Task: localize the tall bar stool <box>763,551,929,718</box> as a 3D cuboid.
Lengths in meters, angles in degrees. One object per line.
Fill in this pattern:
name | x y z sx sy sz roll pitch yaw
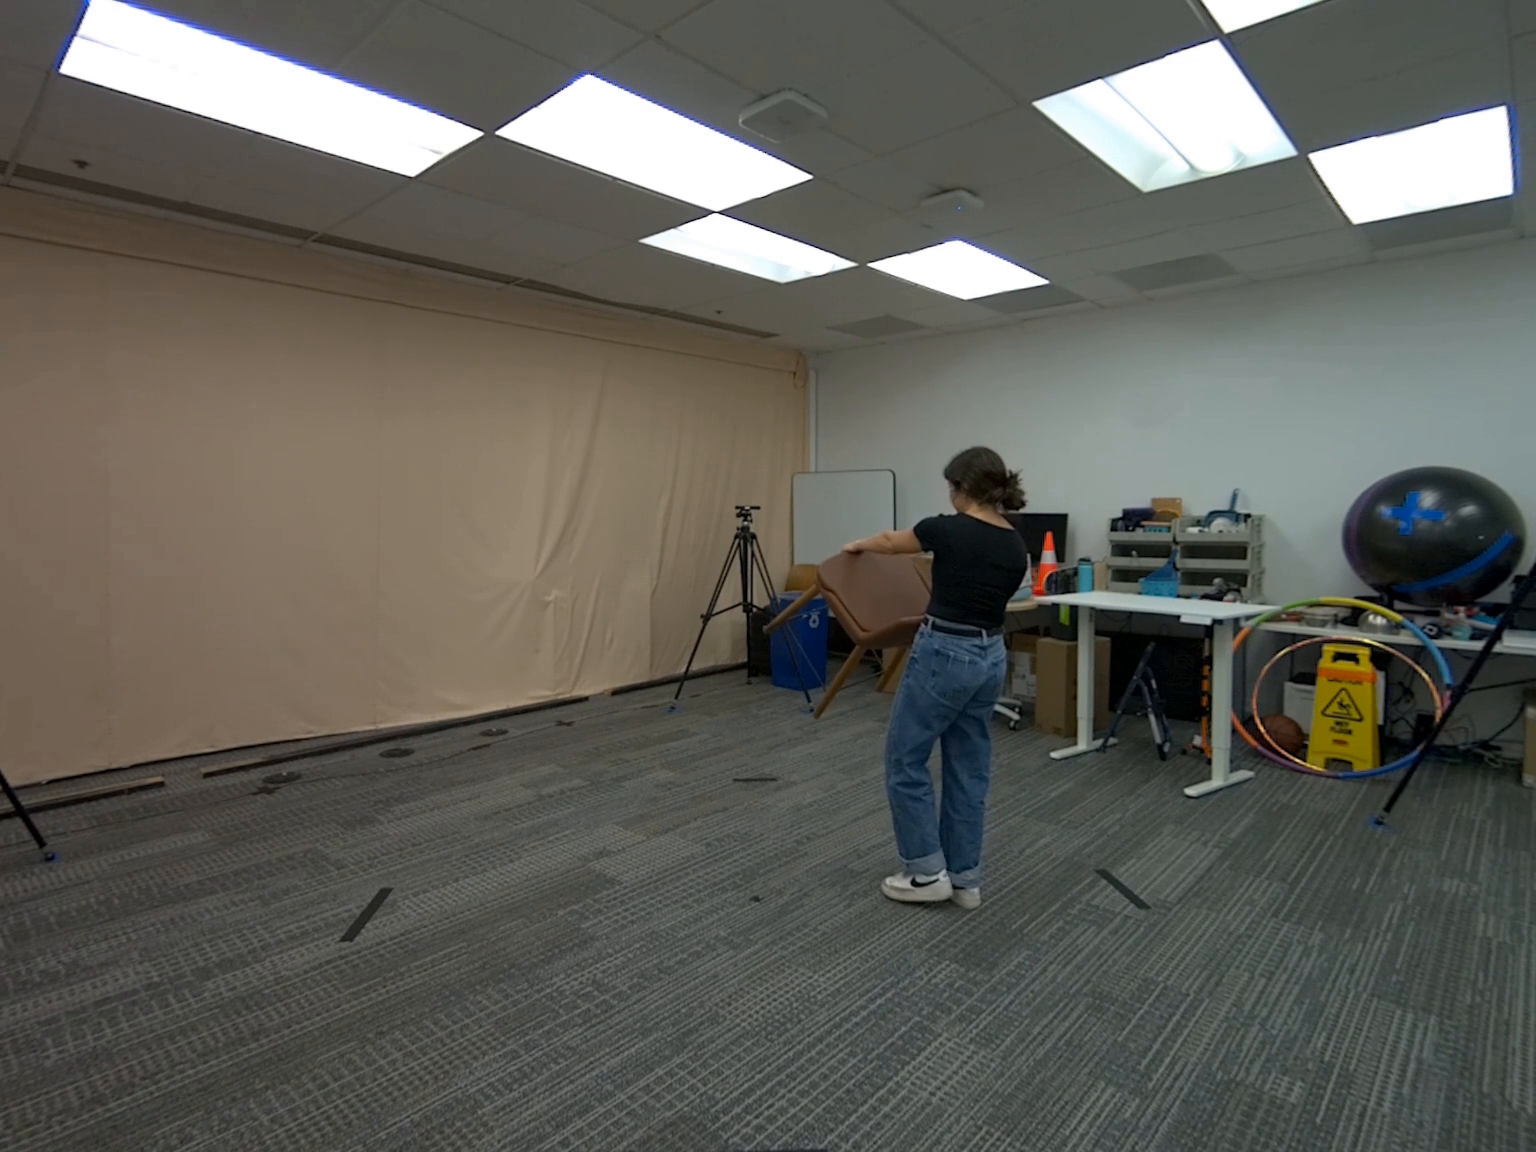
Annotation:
tall bar stool | 0.390 0.162 3.381 0.446 0.477 0.891 -15 -23 -30
